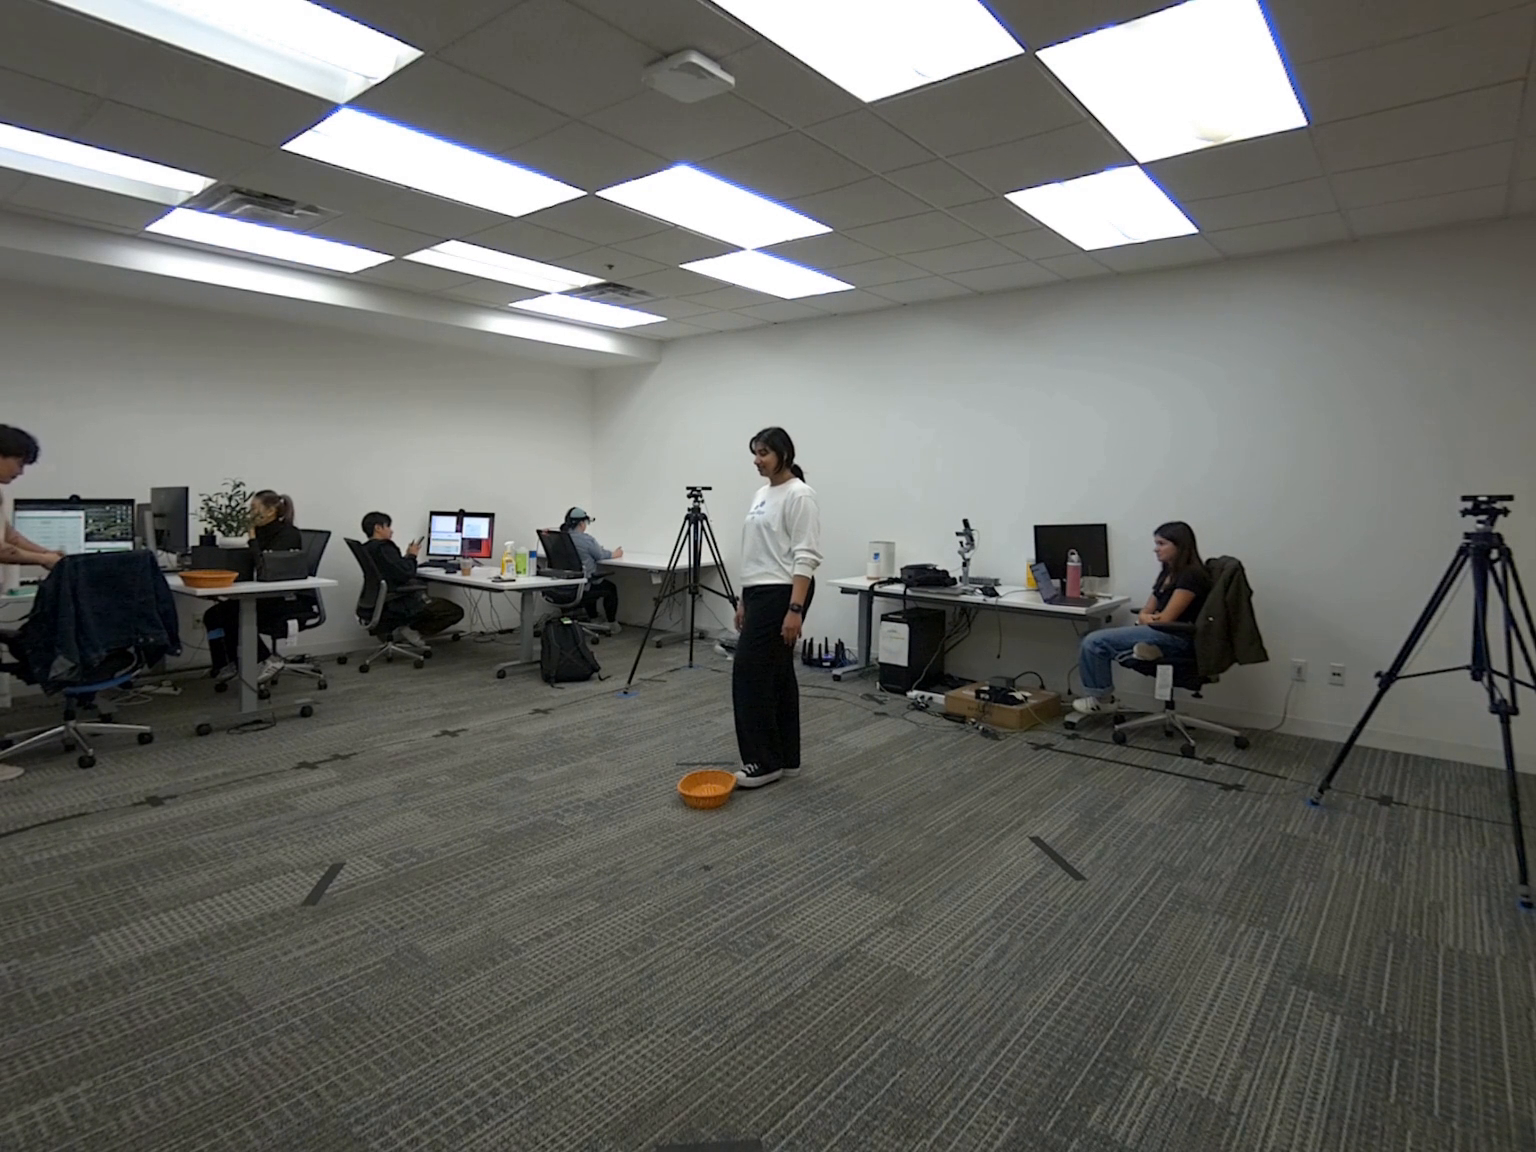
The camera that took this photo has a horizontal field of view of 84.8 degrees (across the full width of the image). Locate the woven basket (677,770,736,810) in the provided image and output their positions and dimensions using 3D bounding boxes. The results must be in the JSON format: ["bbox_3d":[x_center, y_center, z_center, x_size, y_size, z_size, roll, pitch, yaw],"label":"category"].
[{"bbox_3d":[-0.282,0.958,3.815,0.256,0.073,0.347,1,6,13],"label":"woven basket"}]
